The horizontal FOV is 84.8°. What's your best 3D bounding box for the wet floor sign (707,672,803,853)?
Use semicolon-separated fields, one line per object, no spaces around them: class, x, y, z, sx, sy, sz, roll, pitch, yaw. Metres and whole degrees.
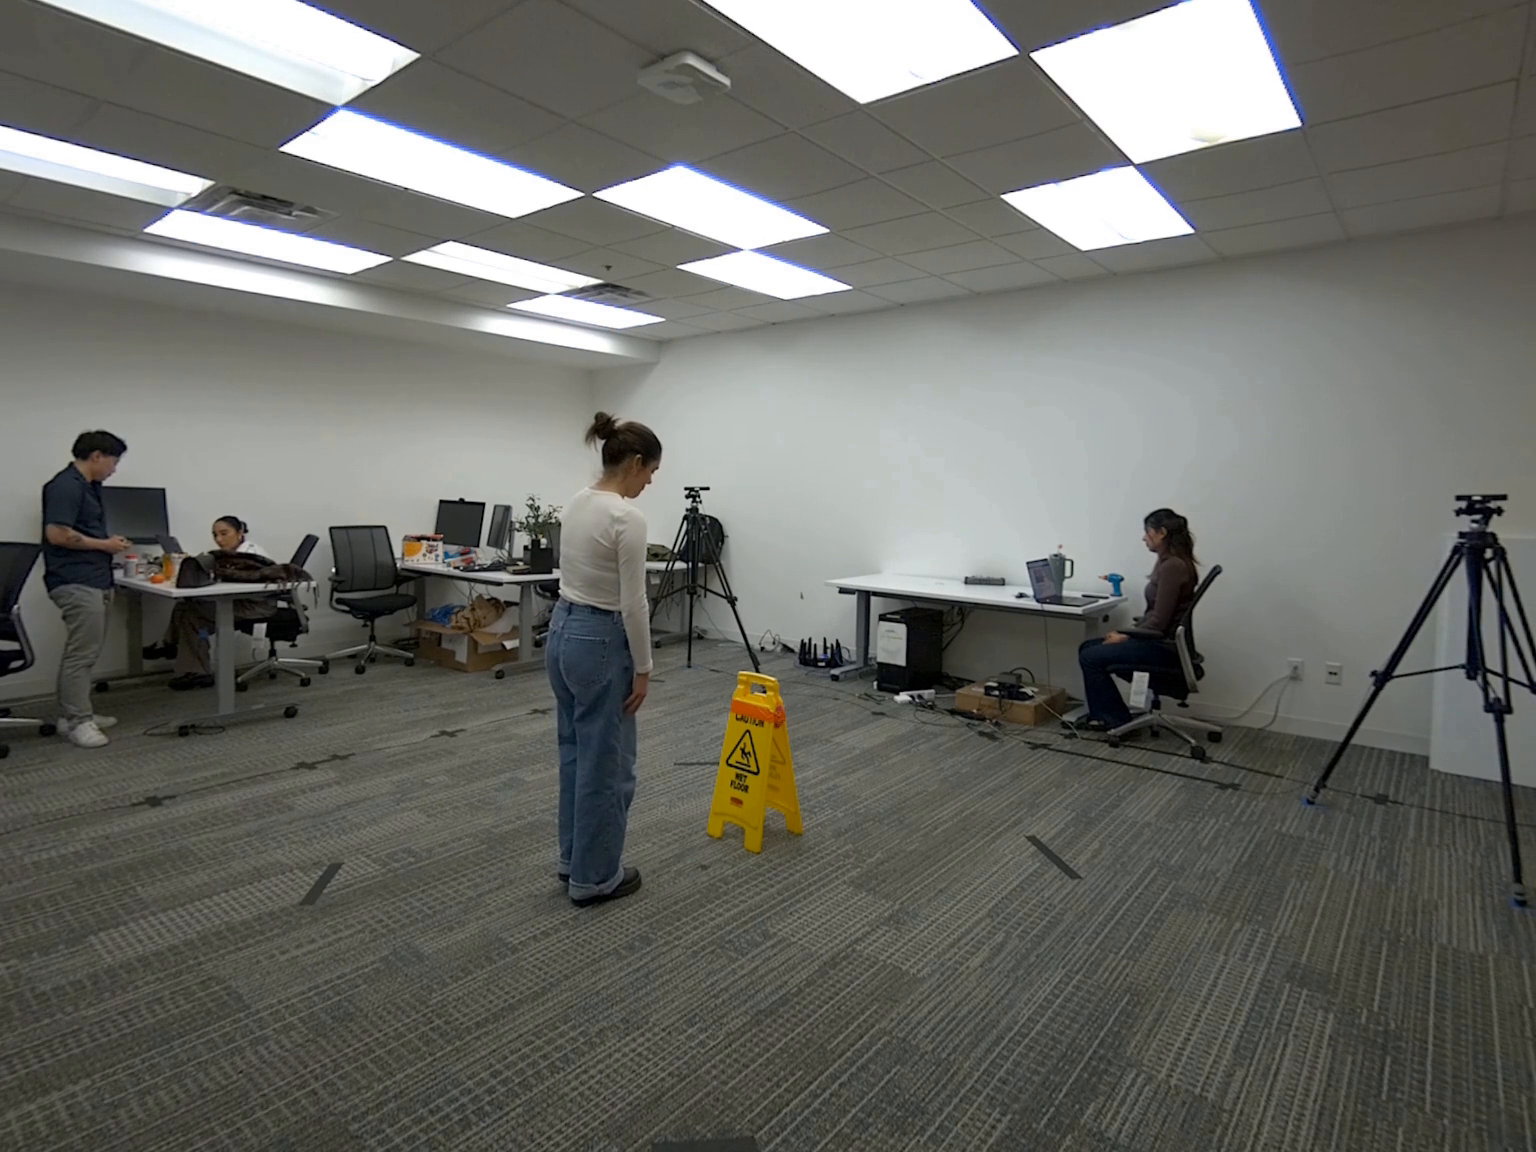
wet floor sign;-0.058;0.711;3.412;0.292;0.644;0.281;3;4;42
